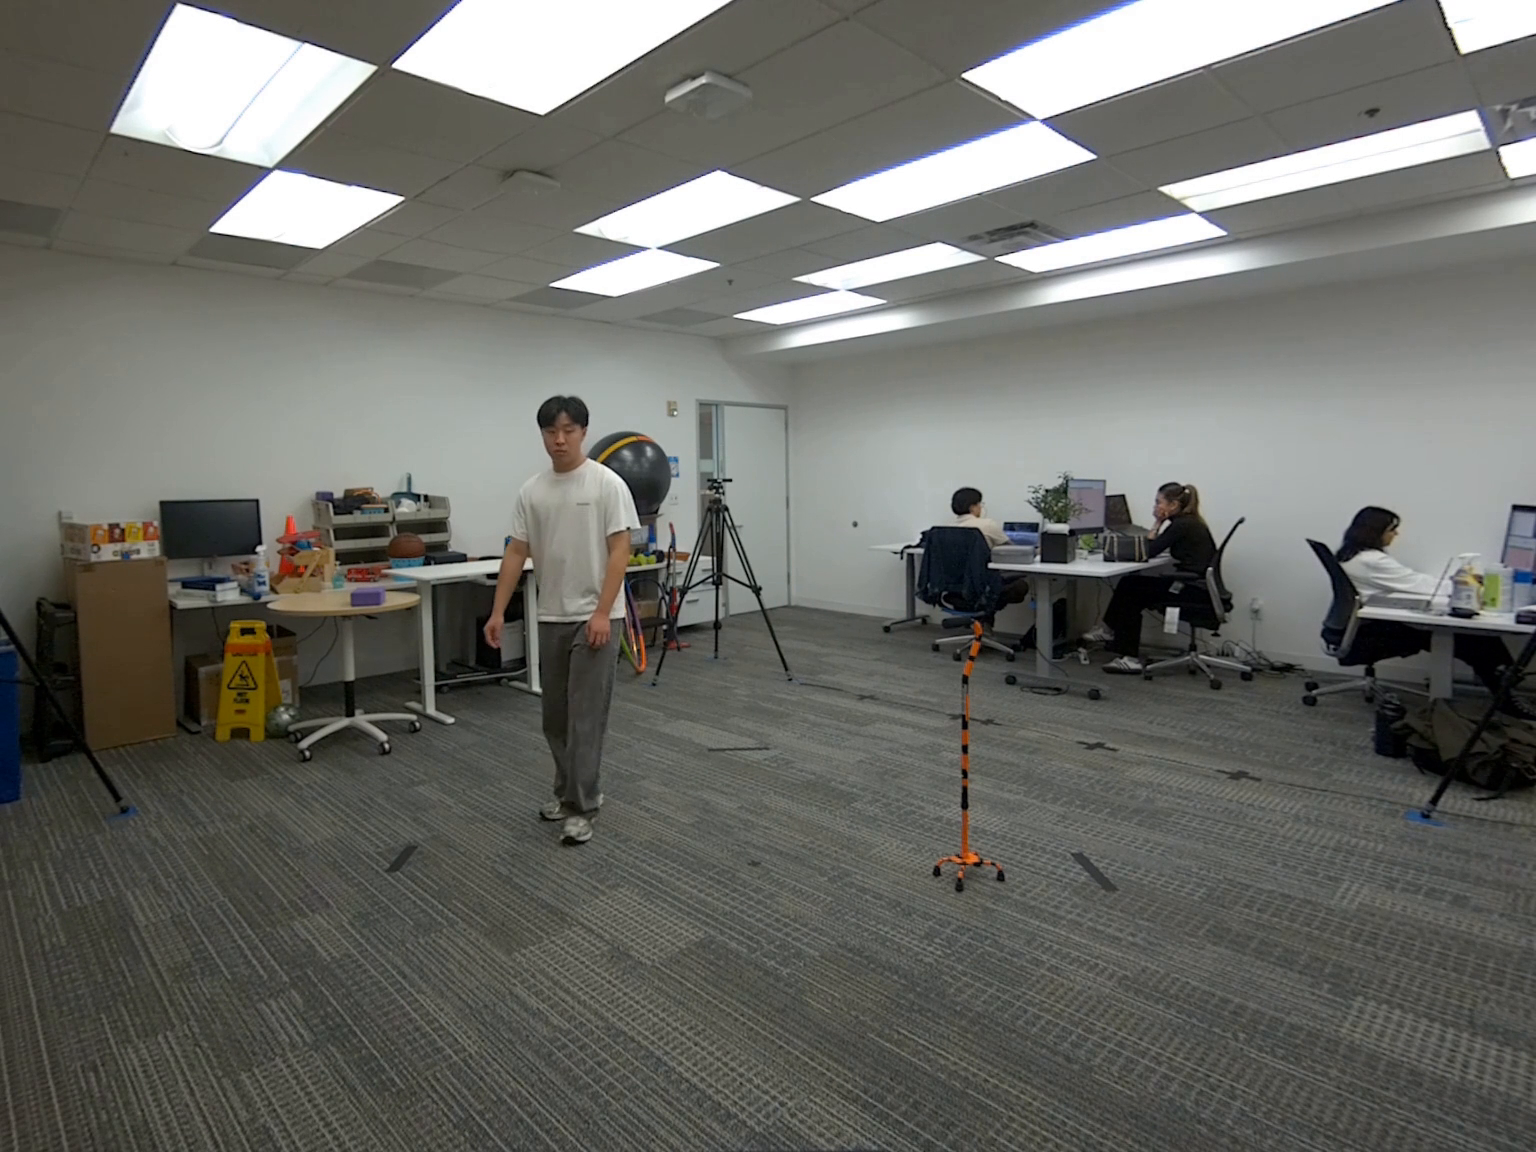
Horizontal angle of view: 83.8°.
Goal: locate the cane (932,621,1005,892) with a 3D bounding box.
[{"bbox_3d":[0.695,0.600,2.944,0.202,0.905,0.155,-3,4,-26],"label":"cane"}]
